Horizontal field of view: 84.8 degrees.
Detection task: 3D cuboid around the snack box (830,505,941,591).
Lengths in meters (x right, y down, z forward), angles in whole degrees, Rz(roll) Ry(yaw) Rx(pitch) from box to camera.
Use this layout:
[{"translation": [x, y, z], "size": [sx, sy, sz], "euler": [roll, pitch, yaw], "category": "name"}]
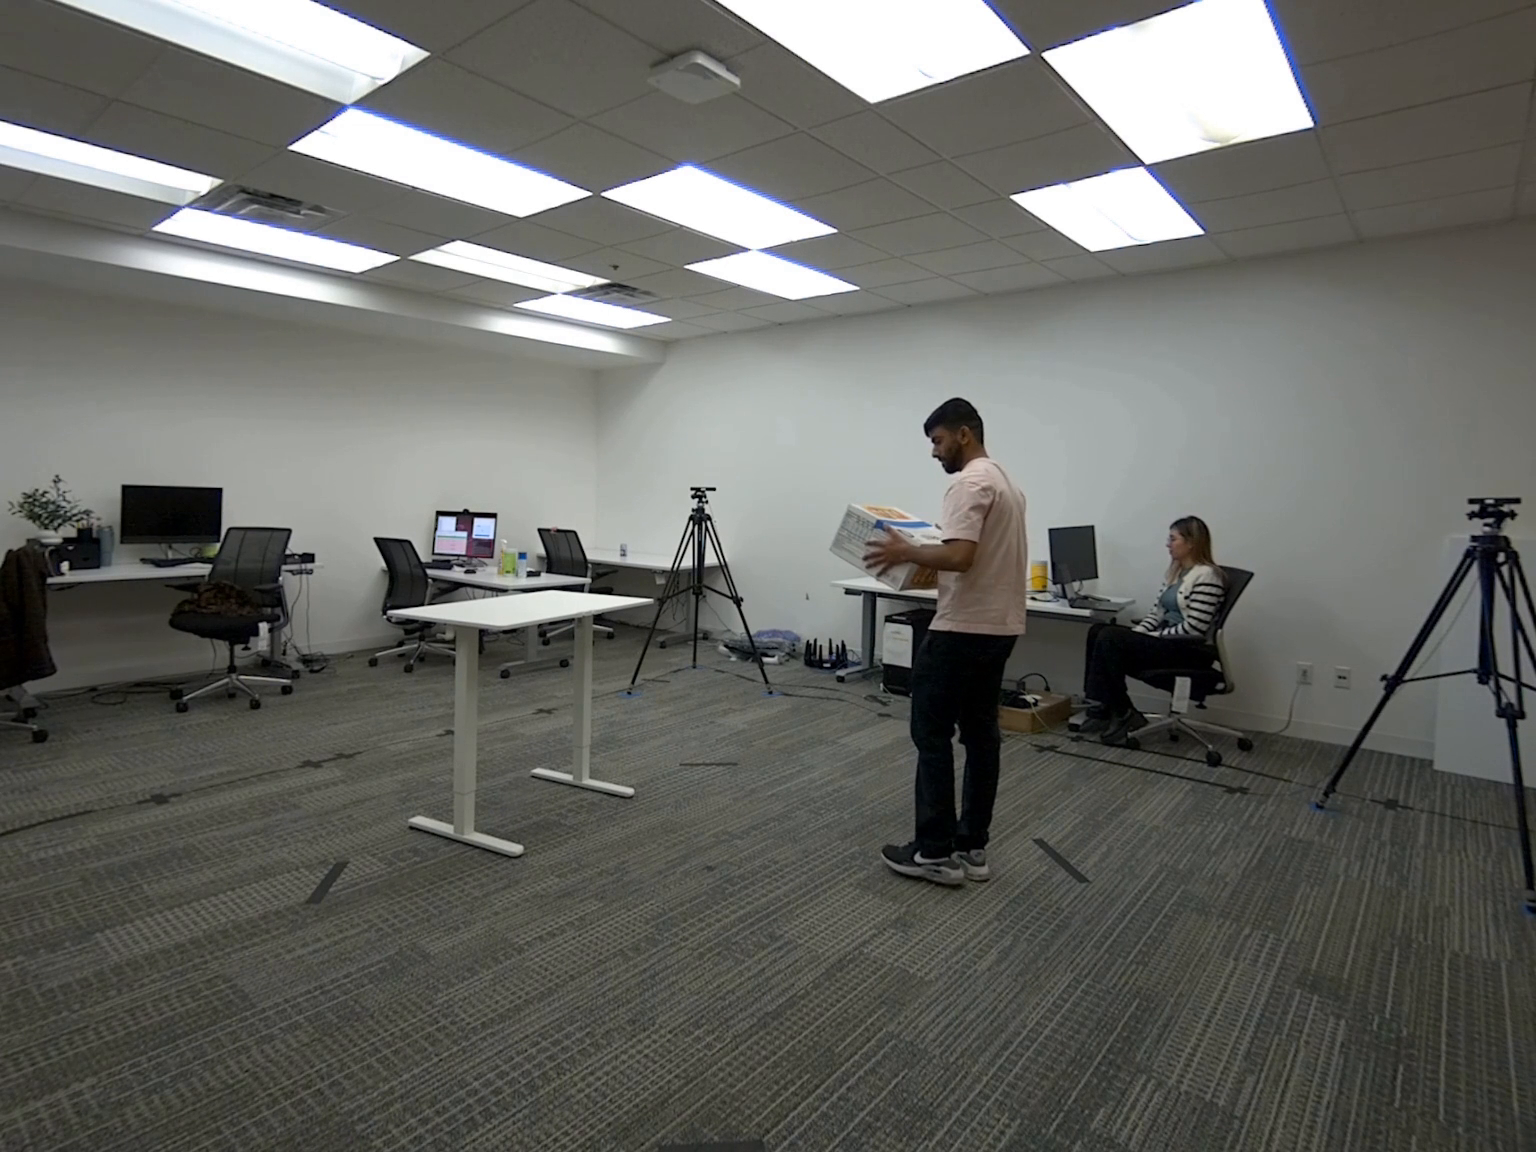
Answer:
[{"translation": [0.505, -0.118, 3.349], "size": [0.354, 0.204, 0.393], "euler": [31, 19, 32], "category": "snack box"}]
